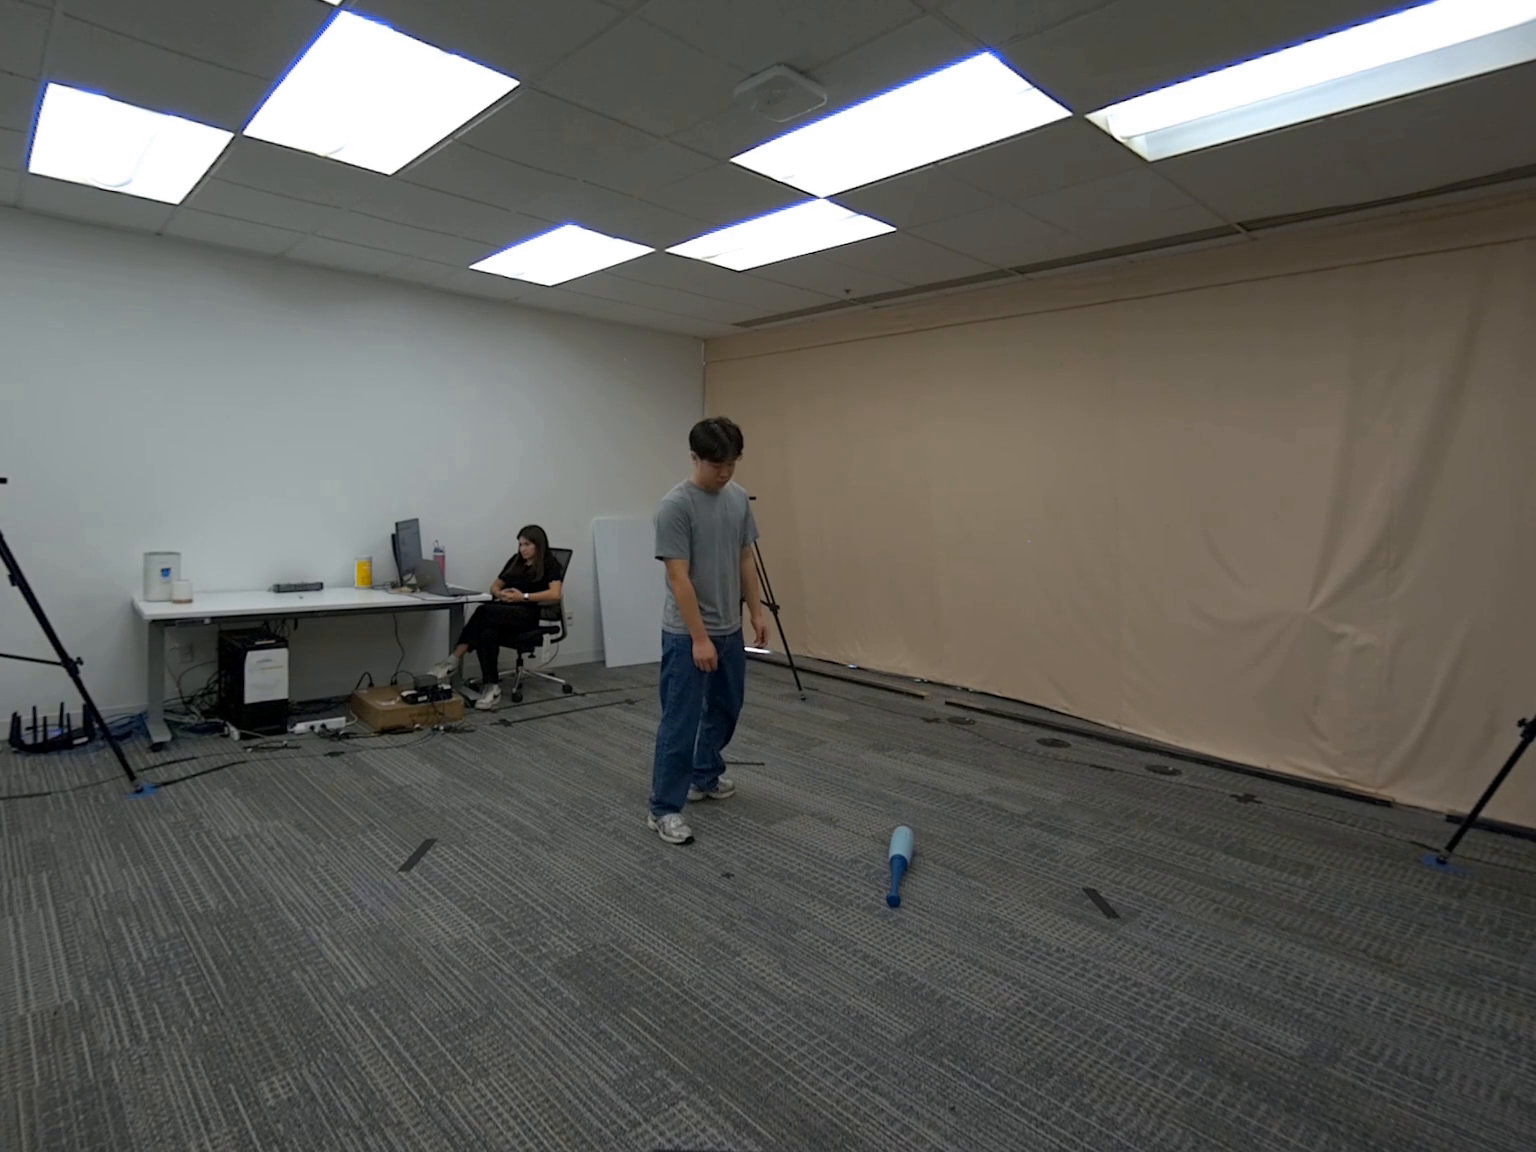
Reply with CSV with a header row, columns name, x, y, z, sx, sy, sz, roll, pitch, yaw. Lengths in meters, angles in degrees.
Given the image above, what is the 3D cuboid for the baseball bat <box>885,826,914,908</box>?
name,x,y,z,sx,sy,sz,roll,pitch,yaw
baseball bat,0.479,1.079,3.139,0.090,0.088,0.539,2,7,12
